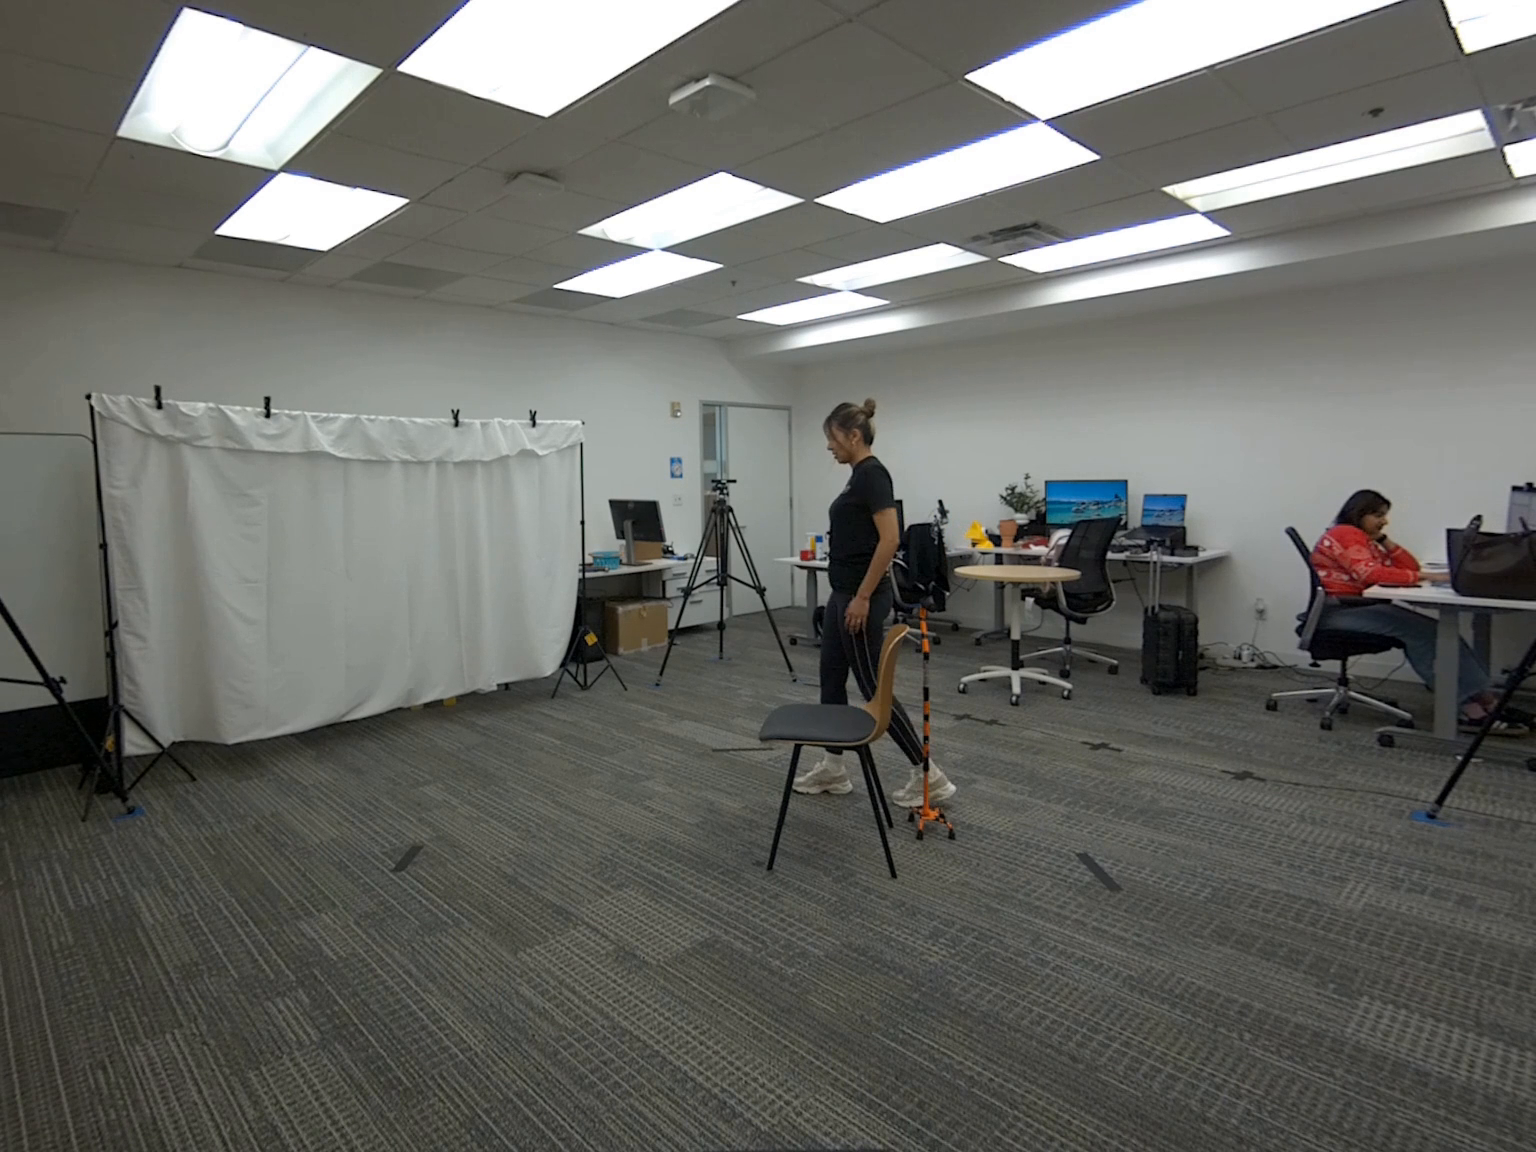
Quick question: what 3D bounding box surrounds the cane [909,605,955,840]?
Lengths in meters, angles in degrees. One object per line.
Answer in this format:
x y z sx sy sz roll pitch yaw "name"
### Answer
0.638 0.557 3.353 0.152 0.904 0.207 -1 5 1 "cane"
